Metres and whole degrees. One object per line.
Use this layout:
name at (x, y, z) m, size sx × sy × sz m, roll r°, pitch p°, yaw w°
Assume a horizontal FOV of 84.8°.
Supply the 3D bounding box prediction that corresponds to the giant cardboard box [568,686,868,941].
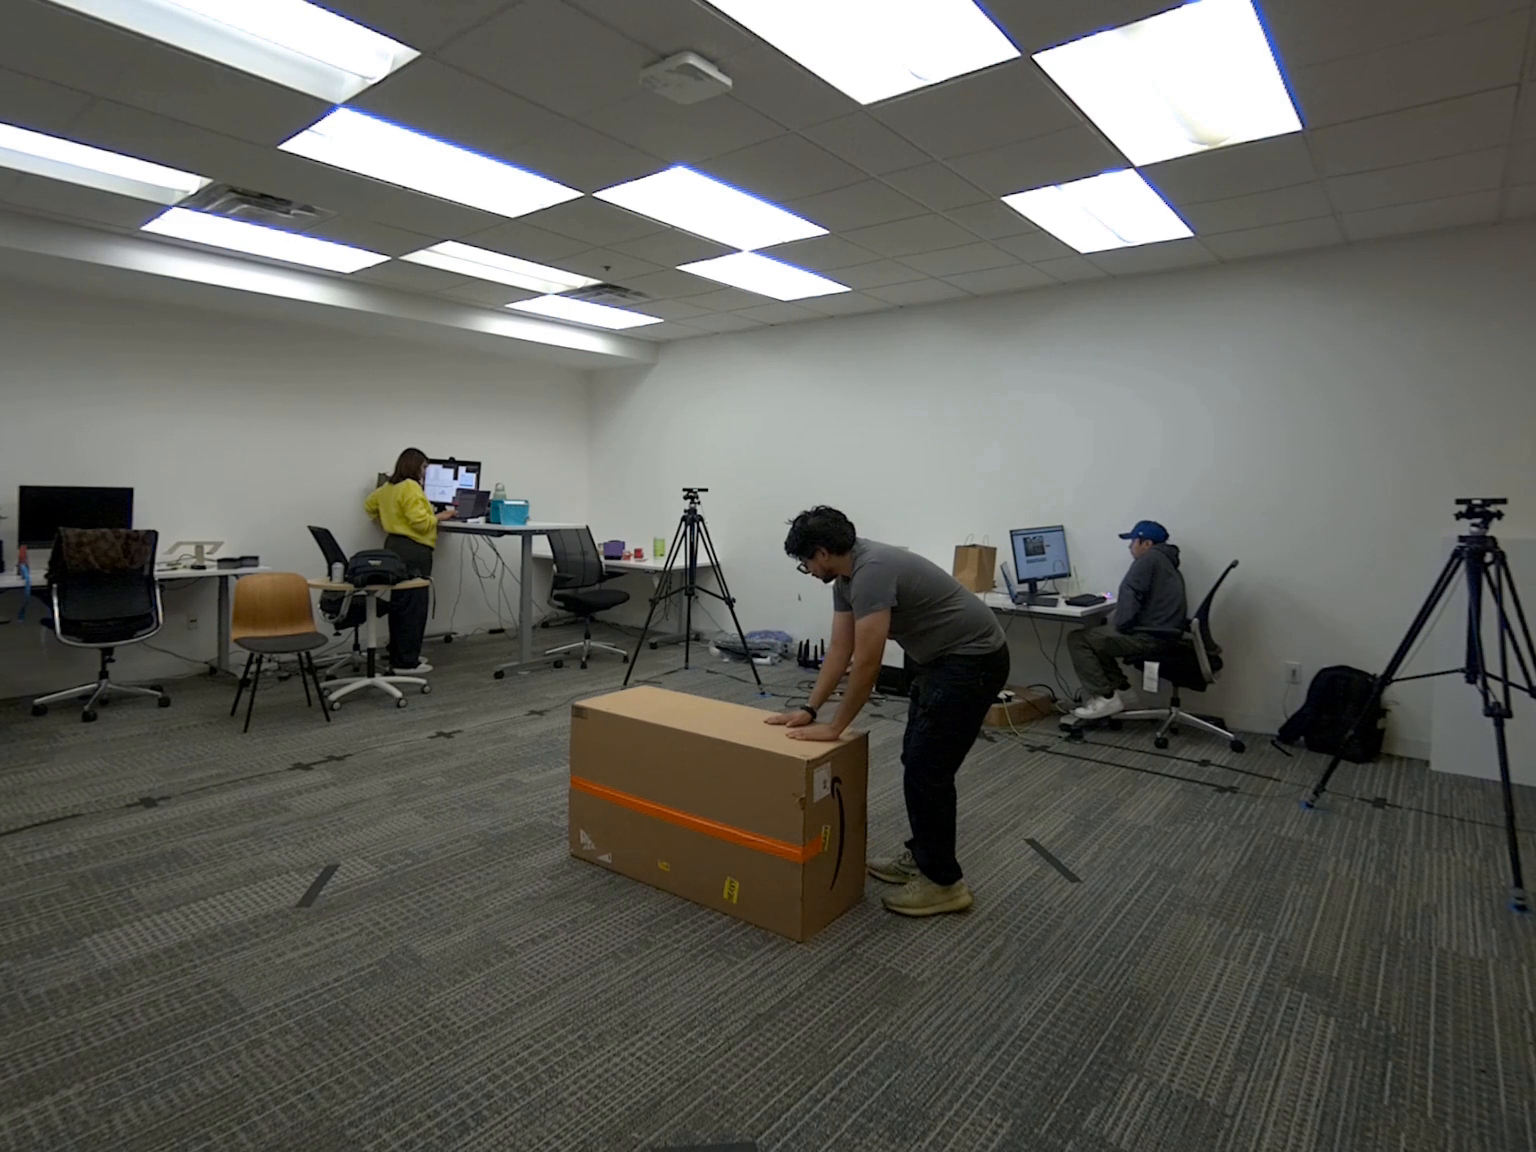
giant cardboard box at (-0.216, 0.787, 3.056) m, size 1.059 × 0.575 × 0.414 m, roll 5°, pitch 5°, yaw 35°
